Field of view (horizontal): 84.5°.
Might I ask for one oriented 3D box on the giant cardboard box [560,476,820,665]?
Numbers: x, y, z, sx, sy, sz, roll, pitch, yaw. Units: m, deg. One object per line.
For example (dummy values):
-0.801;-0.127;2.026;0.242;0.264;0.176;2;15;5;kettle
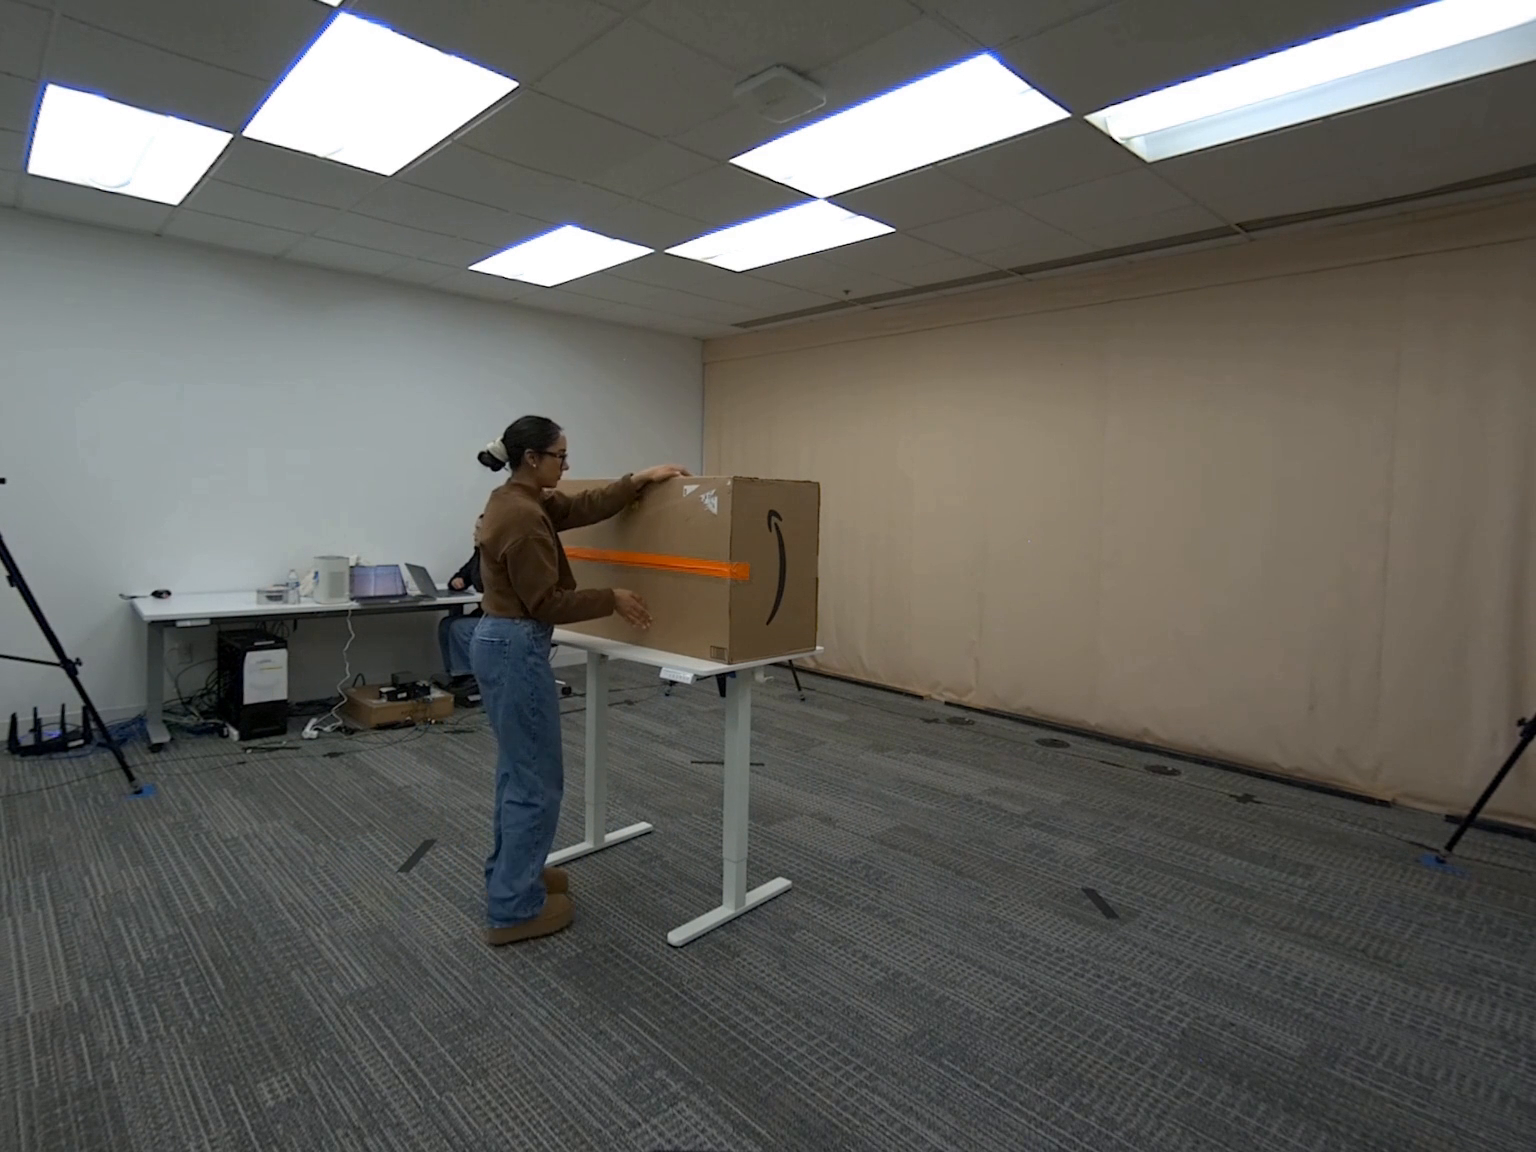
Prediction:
-0.351;-0.056;3.055;1.052;0.576;0.416;5;4;44;giant cardboard box
